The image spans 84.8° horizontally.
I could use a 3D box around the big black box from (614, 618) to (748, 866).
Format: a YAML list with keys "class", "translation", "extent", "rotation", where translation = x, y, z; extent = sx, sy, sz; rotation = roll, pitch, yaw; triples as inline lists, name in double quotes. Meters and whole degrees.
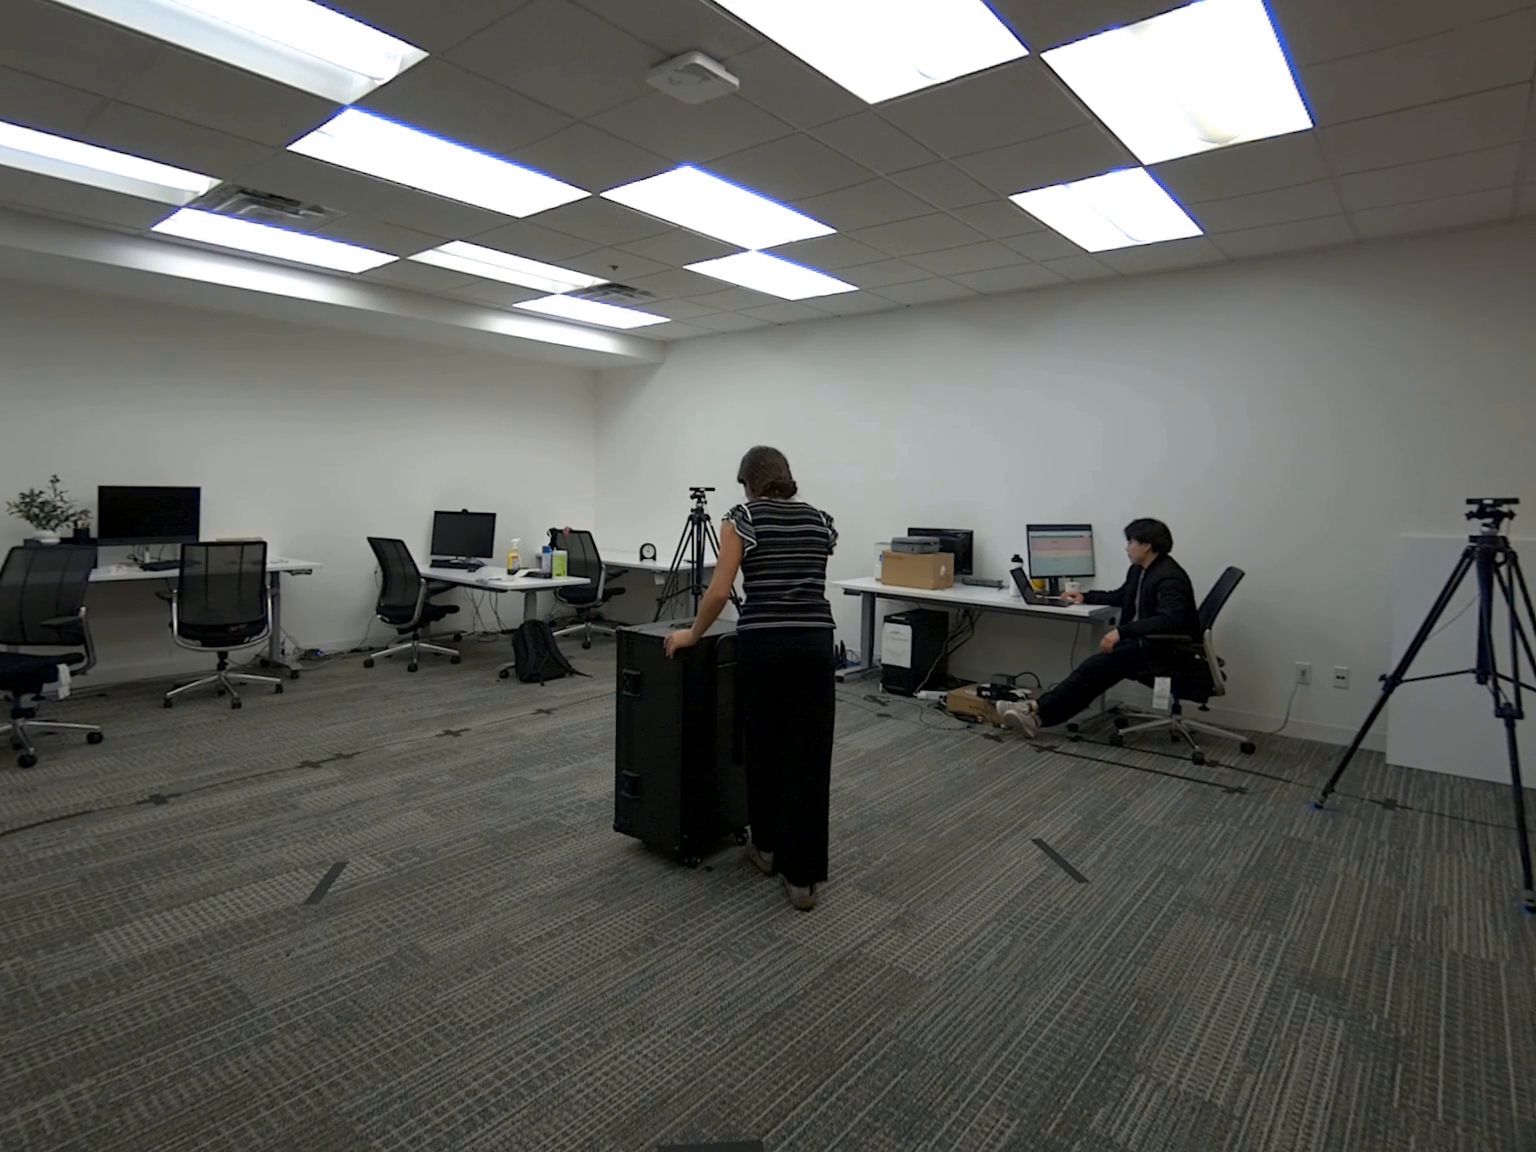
- class: "big black box"
  translation: [-0.303, 0.619, 3.313]
  extent: [0.409, 0.859, 0.506]
  rotation: [4, 4, 39]
